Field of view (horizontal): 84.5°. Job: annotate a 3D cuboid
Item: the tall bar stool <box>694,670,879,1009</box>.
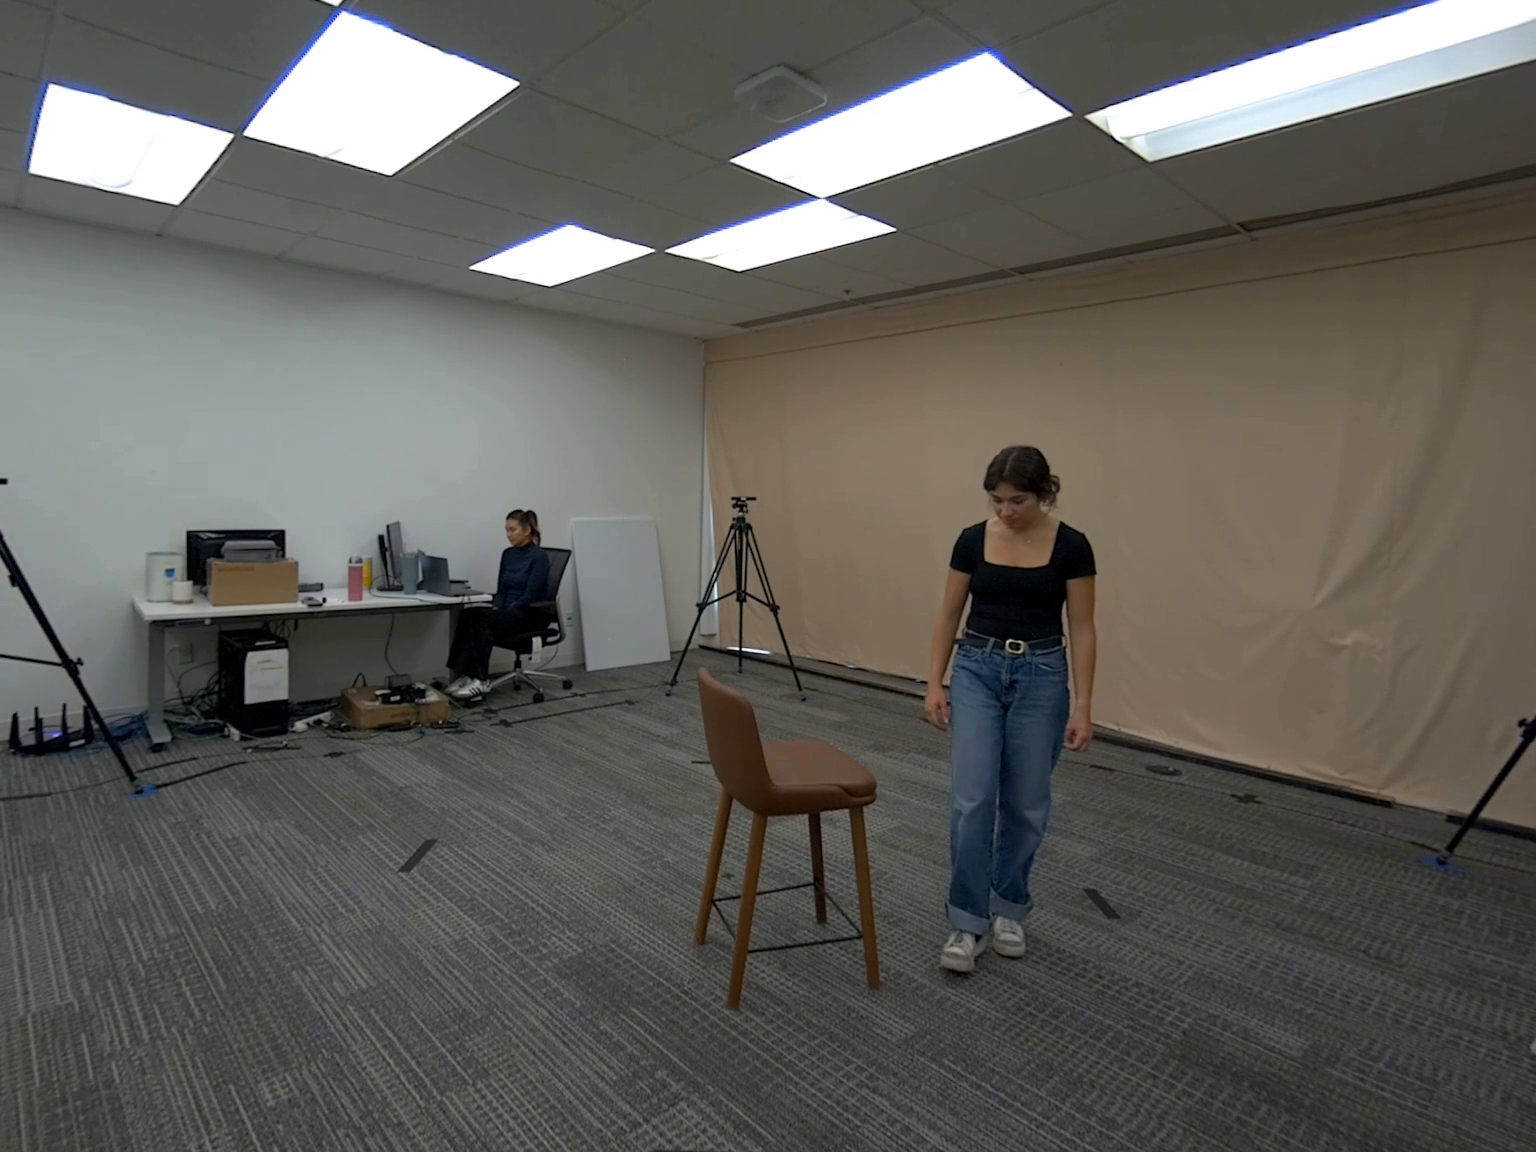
[{"bbox_3d":[0.048,0.731,2.504,0.461,0.887,0.464,-1,5,-20],"label":"tall bar stool"}]
